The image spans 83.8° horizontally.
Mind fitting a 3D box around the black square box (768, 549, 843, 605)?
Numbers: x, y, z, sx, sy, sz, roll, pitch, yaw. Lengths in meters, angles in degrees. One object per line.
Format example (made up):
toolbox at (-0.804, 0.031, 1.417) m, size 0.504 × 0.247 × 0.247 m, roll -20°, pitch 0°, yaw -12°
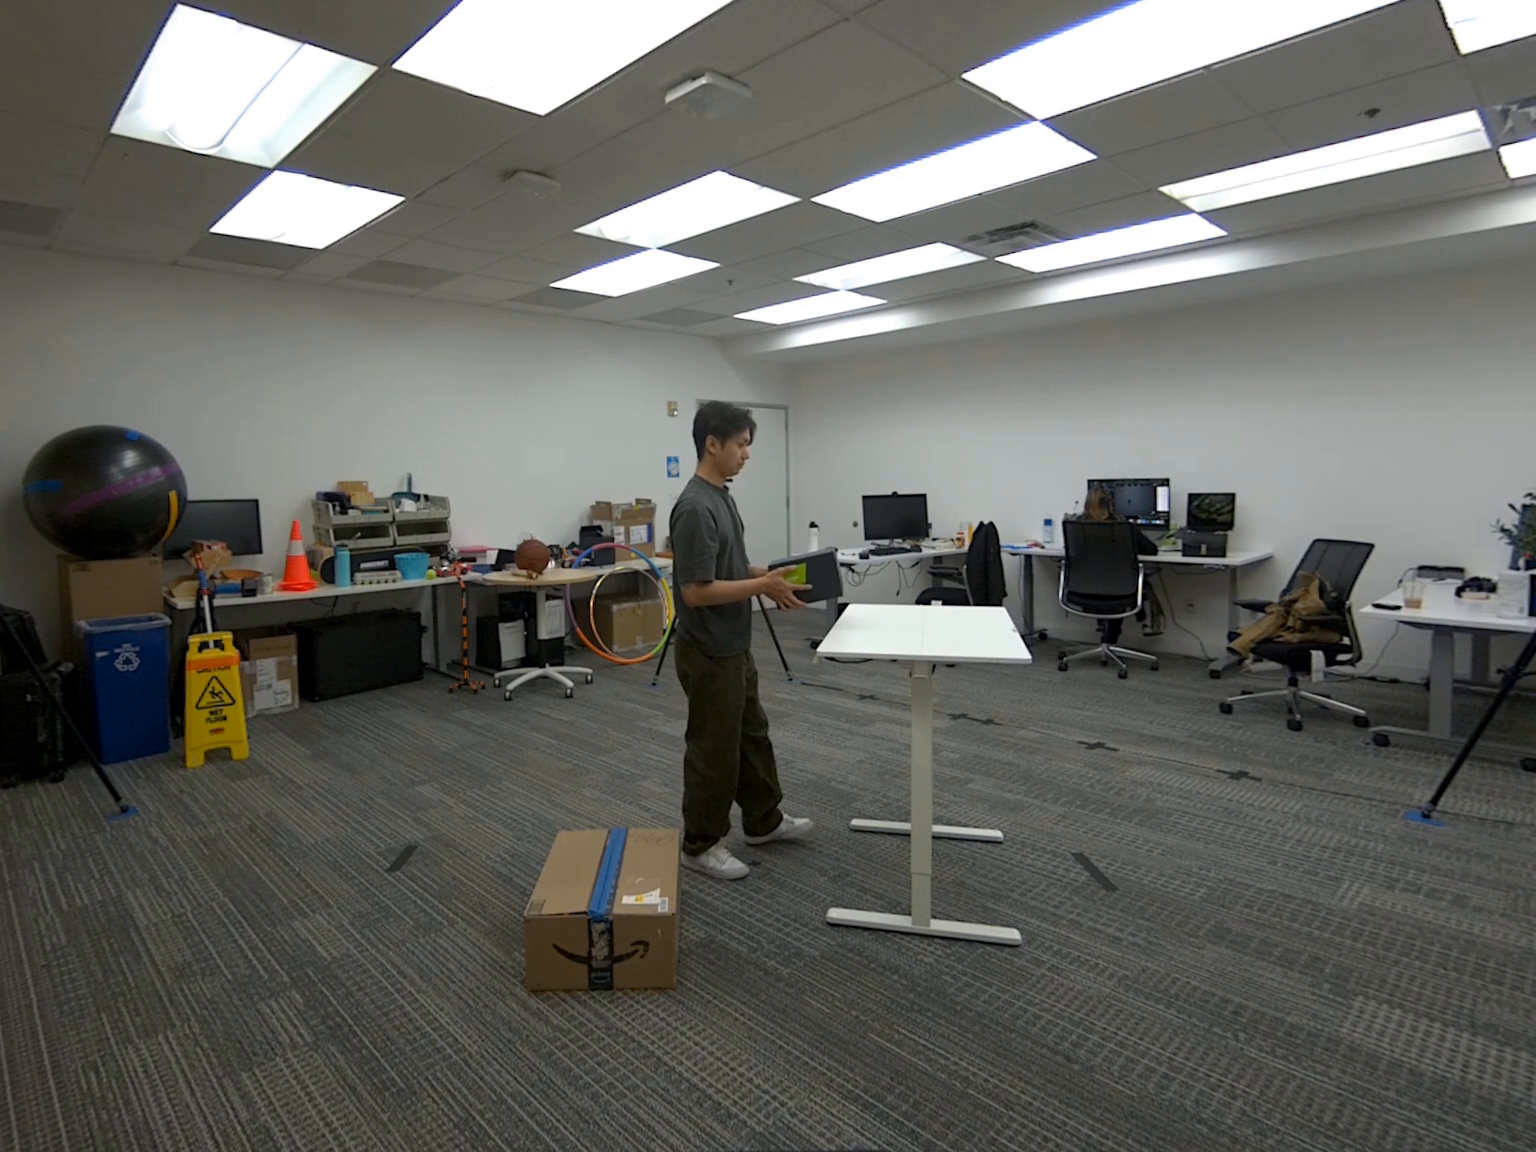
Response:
black square box at (0.137, -0.001, 2.965) m, size 0.229 × 0.155 × 0.216 m, roll -11°, pitch 4°, yaw 6°
